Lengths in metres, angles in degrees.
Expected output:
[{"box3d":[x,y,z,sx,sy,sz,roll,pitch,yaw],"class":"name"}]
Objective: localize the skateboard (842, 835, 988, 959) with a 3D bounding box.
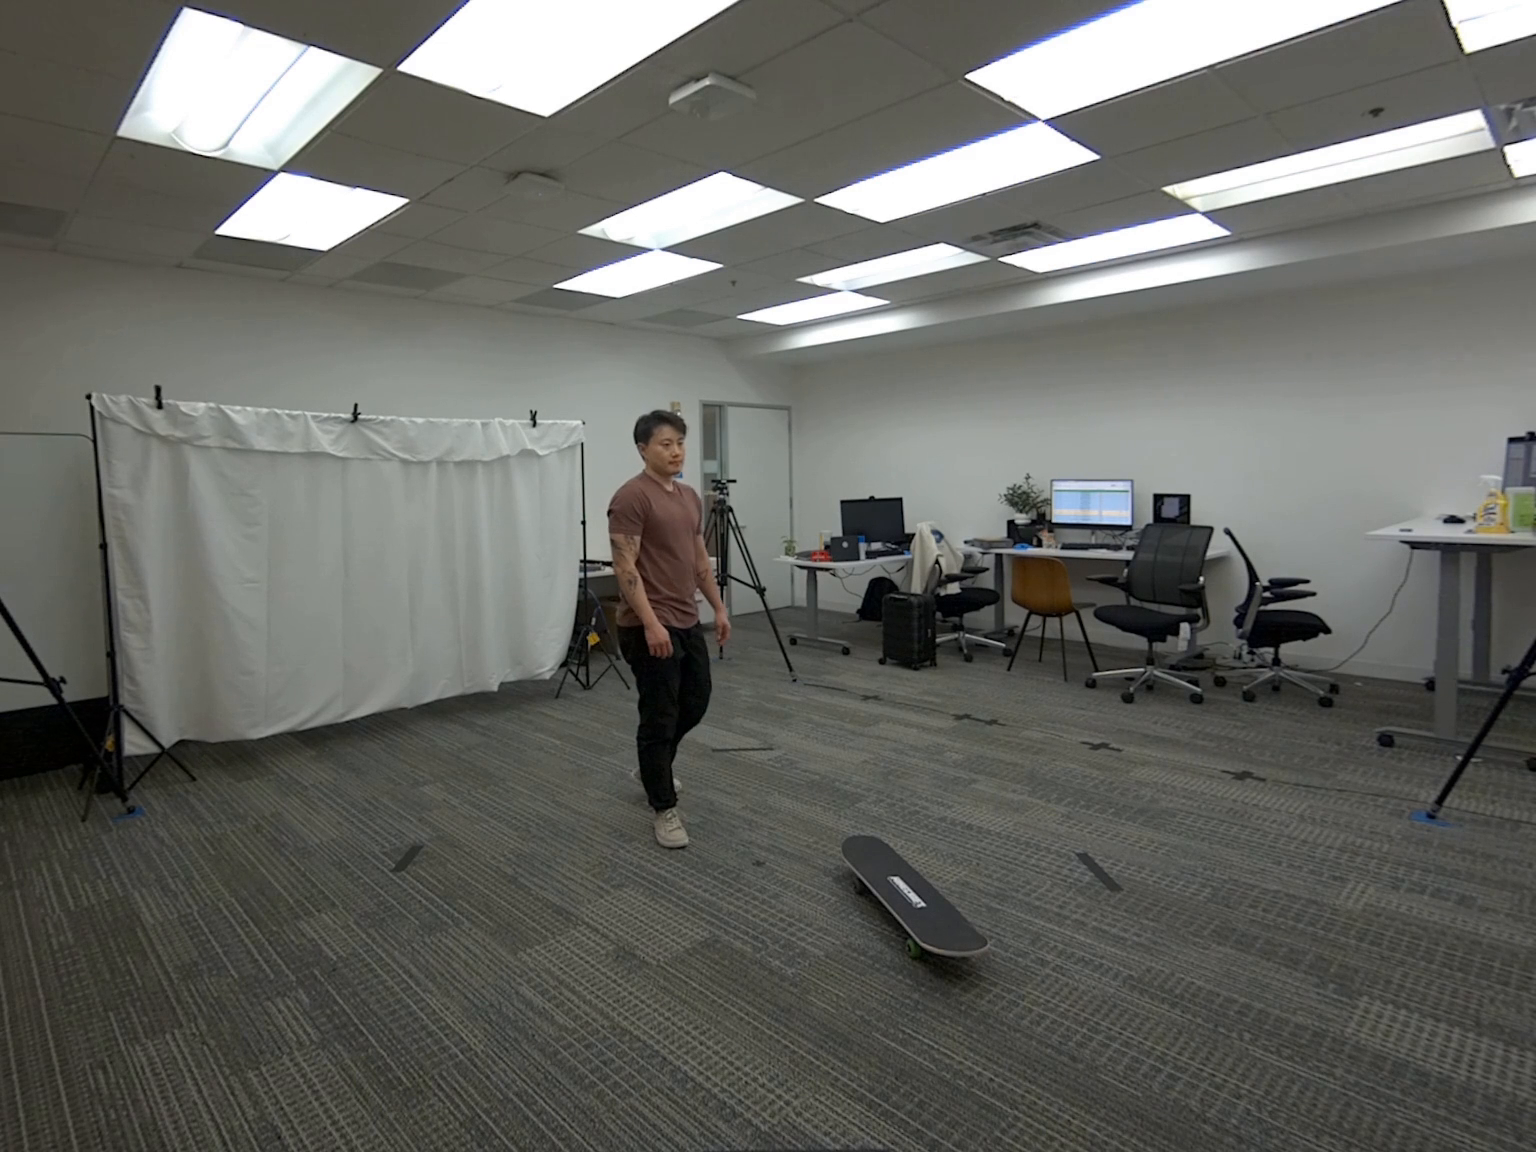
[{"box3d":[0.447,1.034,2.693,0.191,0.110,0.799,-2,7,-15],"class":"skateboard"}]
